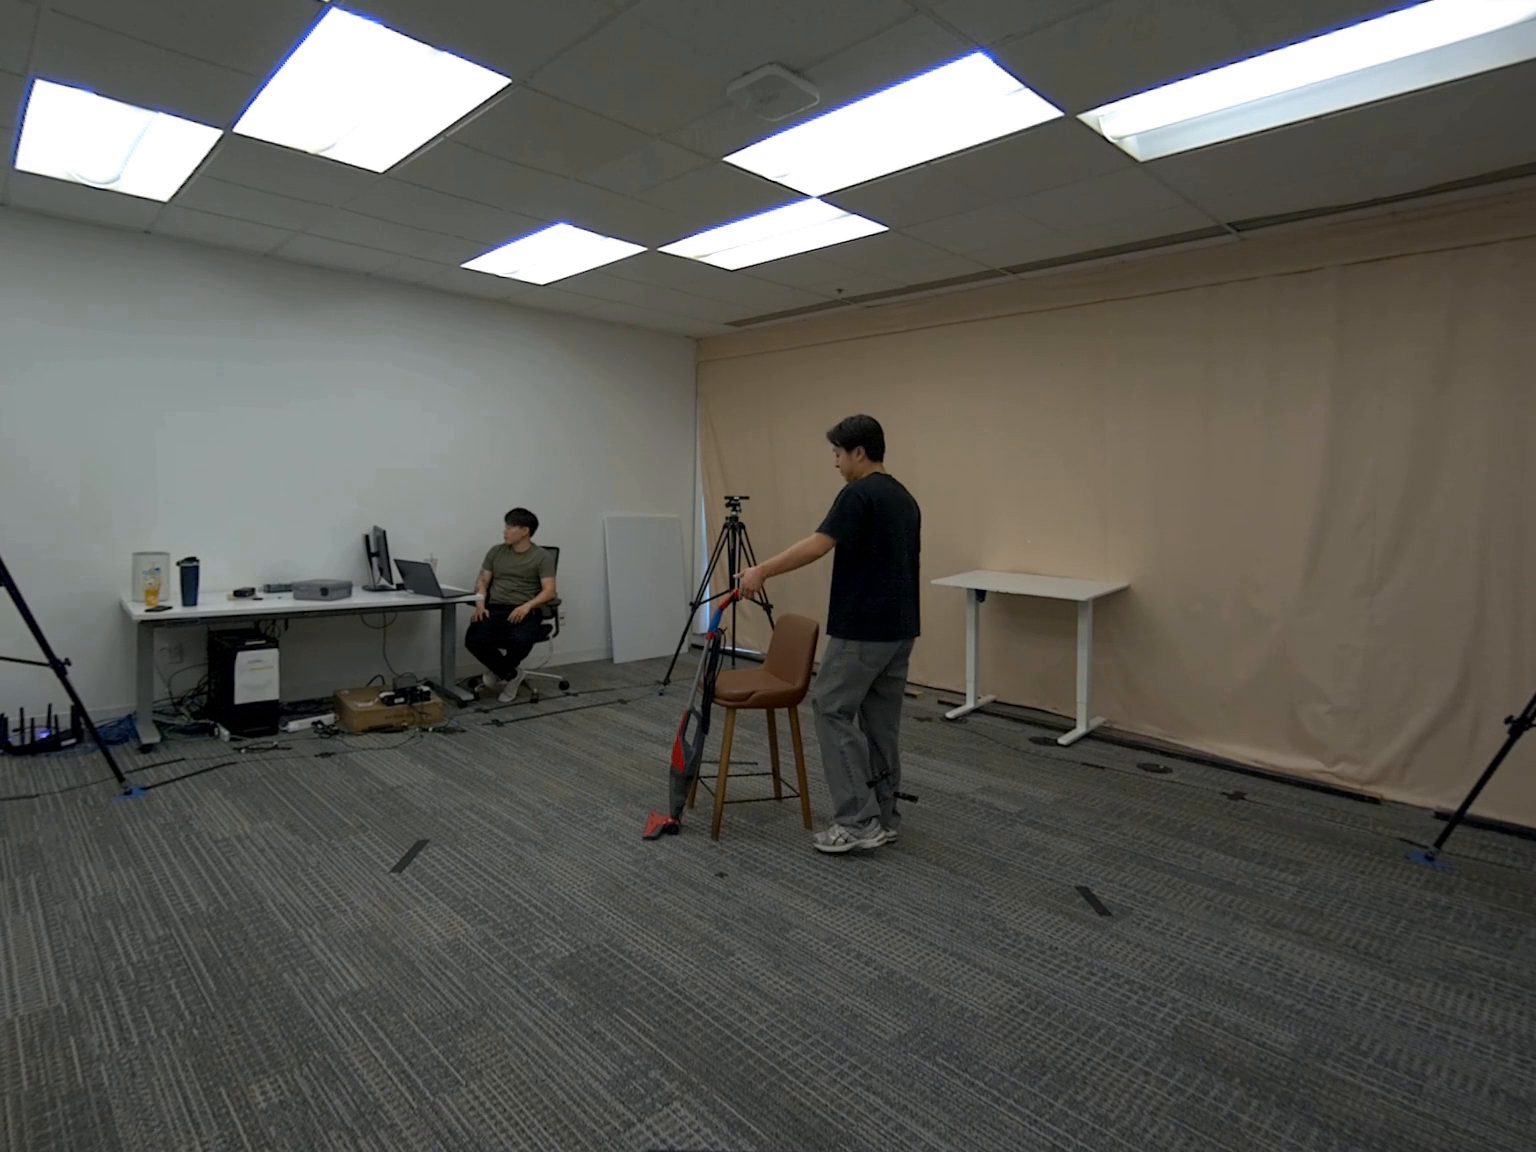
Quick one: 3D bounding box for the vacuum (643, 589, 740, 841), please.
[{"bbox_3d":[-0.290,0.553,3.492,0.144,1.047,0.253,18,3,-3],"label":"vacuum"}]
